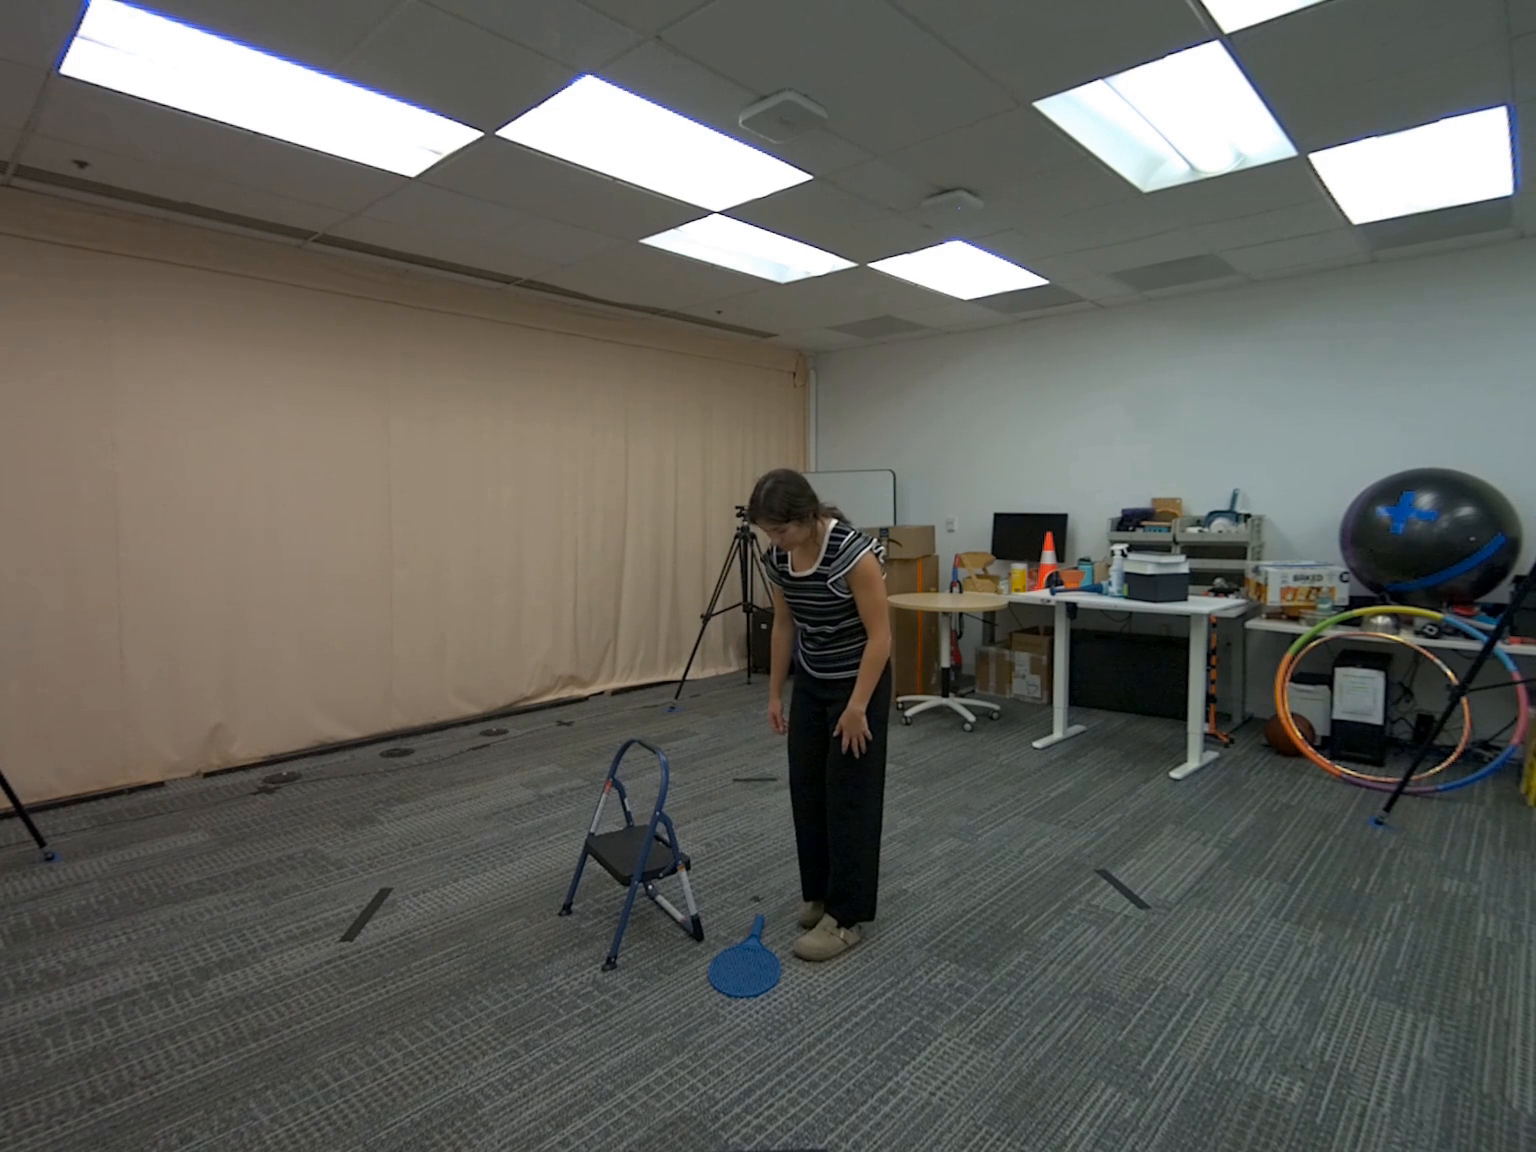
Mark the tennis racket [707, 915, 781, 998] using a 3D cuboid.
[{"bbox_3d":[-0.053,1.159,2.594,0.217,0.031,0.428,1,7,12],"label":"tennis racket"}]
